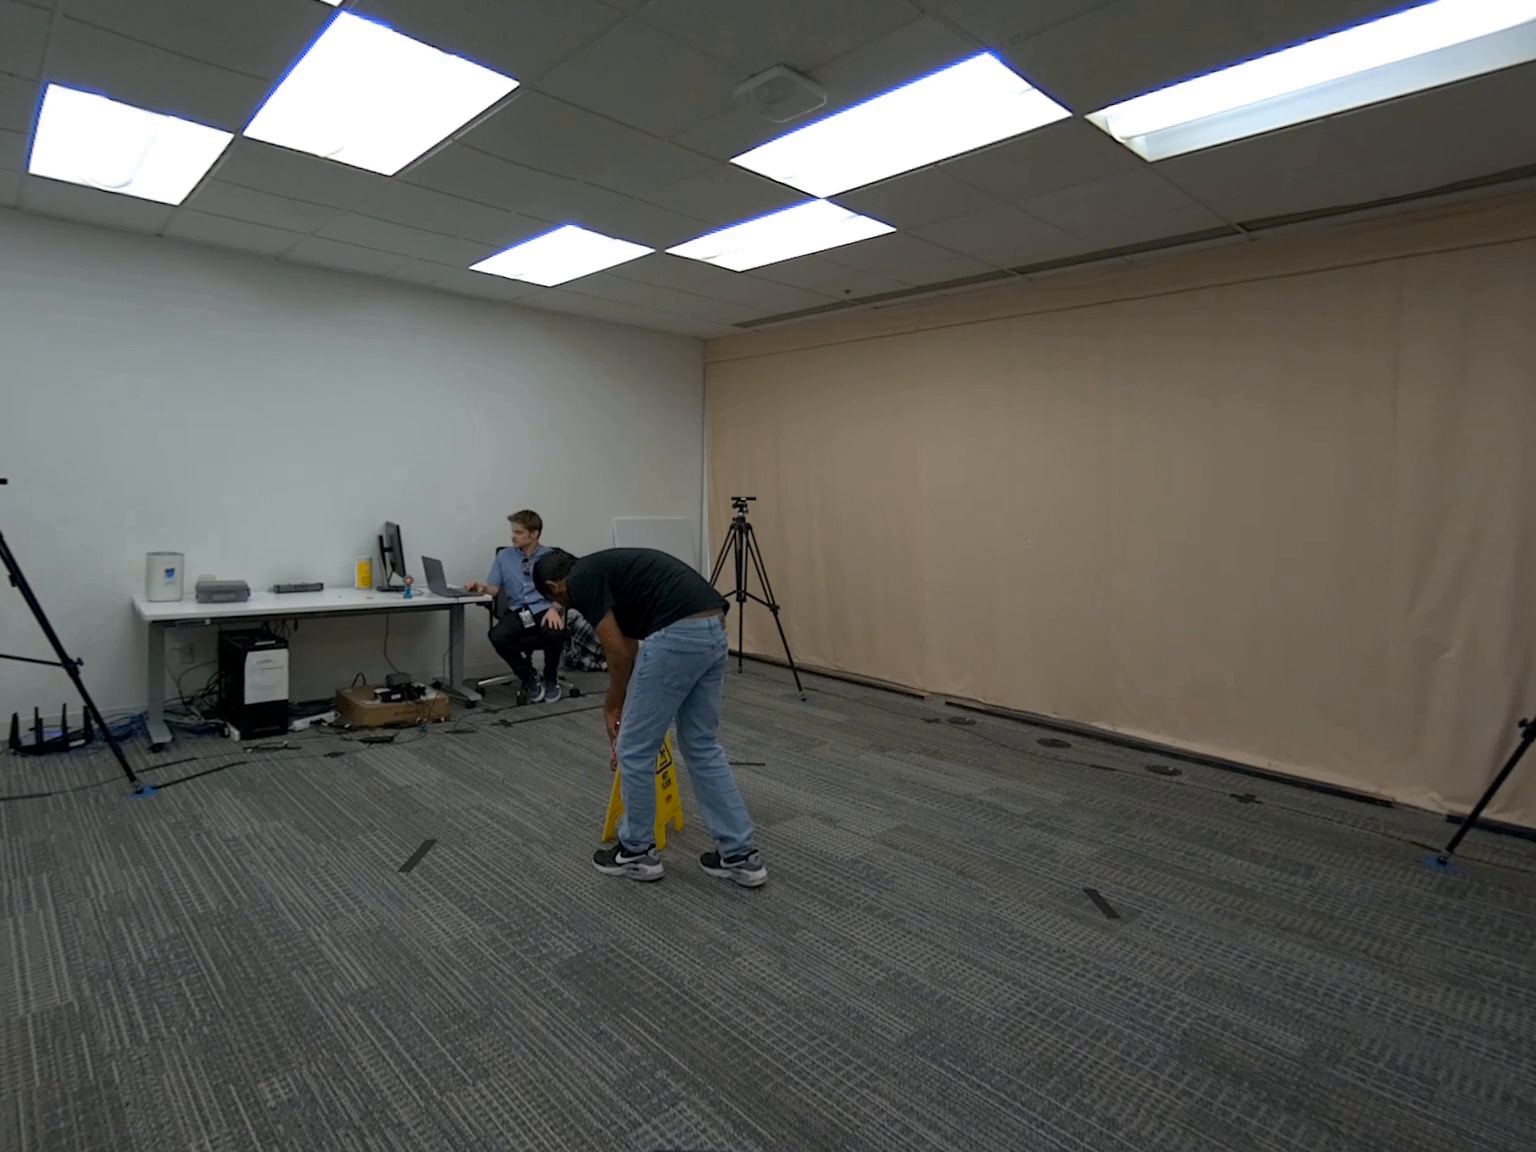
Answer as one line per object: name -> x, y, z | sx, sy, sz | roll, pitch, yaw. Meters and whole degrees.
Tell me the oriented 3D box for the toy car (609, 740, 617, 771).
toy car -> -0.594, 0.679, 3.475 | 0.084, 0.255, 0.128 | 2, -5, 14
